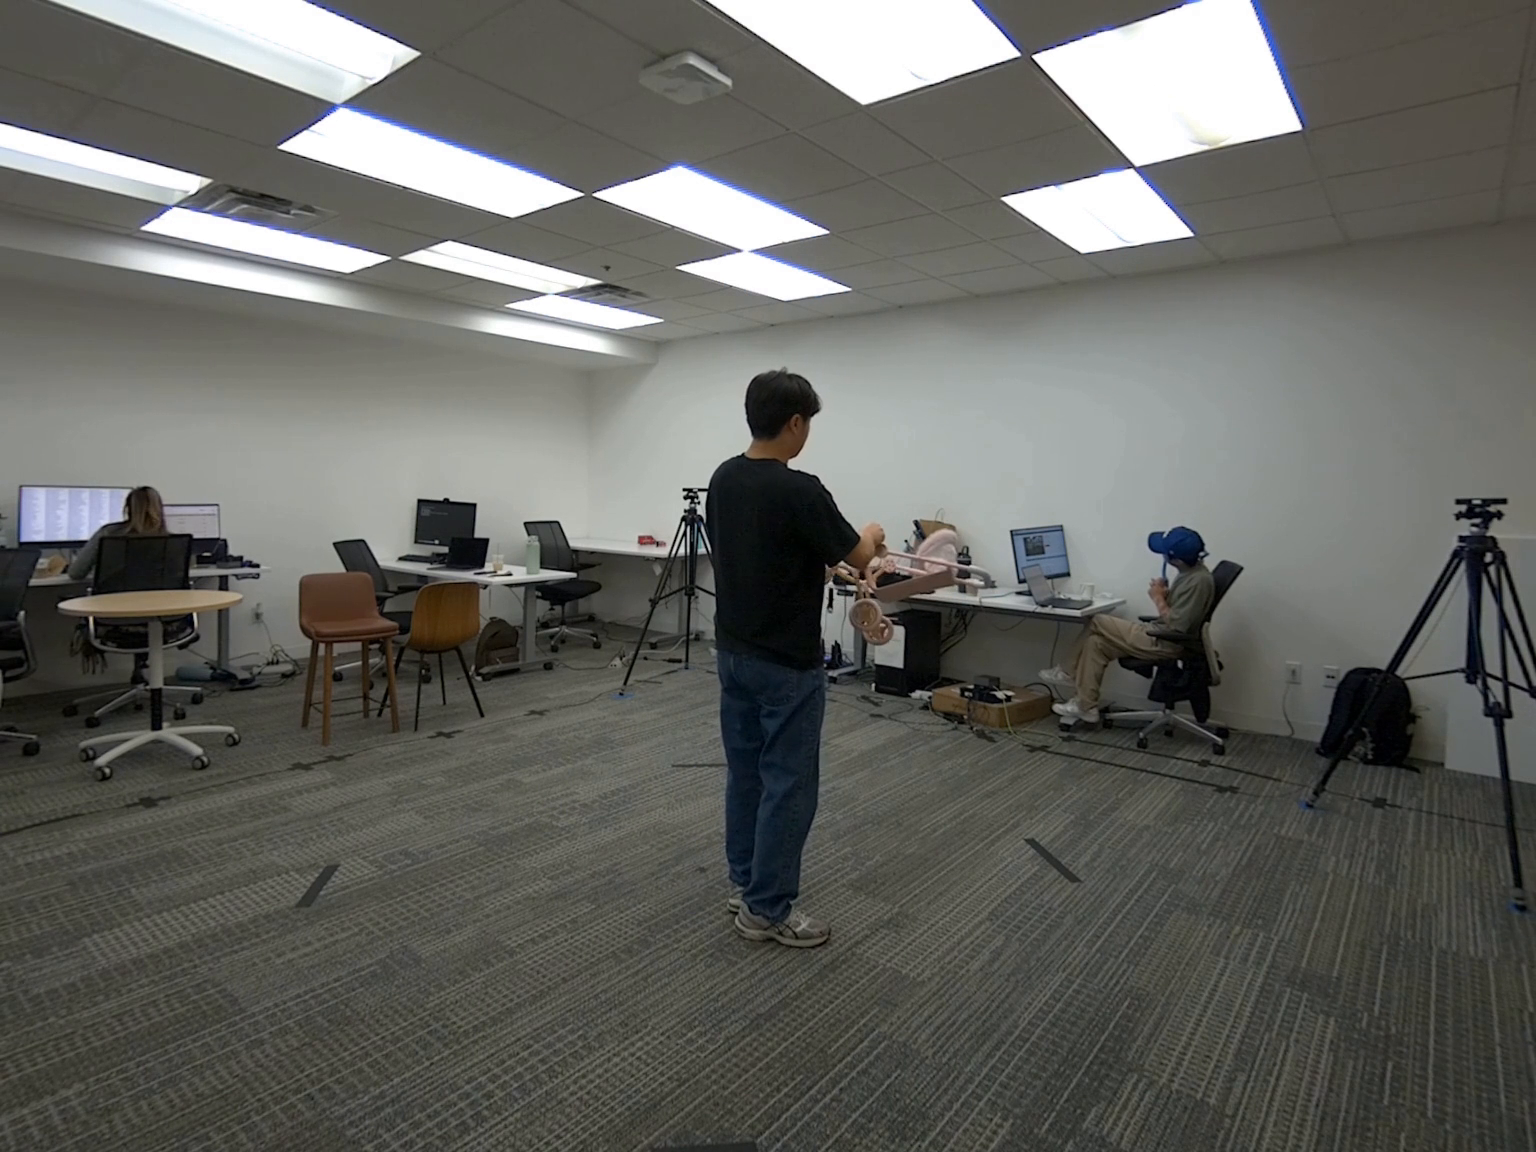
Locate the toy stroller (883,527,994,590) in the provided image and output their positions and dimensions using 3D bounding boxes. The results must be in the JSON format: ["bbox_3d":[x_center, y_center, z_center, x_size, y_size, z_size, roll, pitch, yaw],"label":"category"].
[{"bbox_3d":[0.430,0.004,2.954,0.537,0.353,0.271,-29,-29,11],"label":"toy stroller"}]
